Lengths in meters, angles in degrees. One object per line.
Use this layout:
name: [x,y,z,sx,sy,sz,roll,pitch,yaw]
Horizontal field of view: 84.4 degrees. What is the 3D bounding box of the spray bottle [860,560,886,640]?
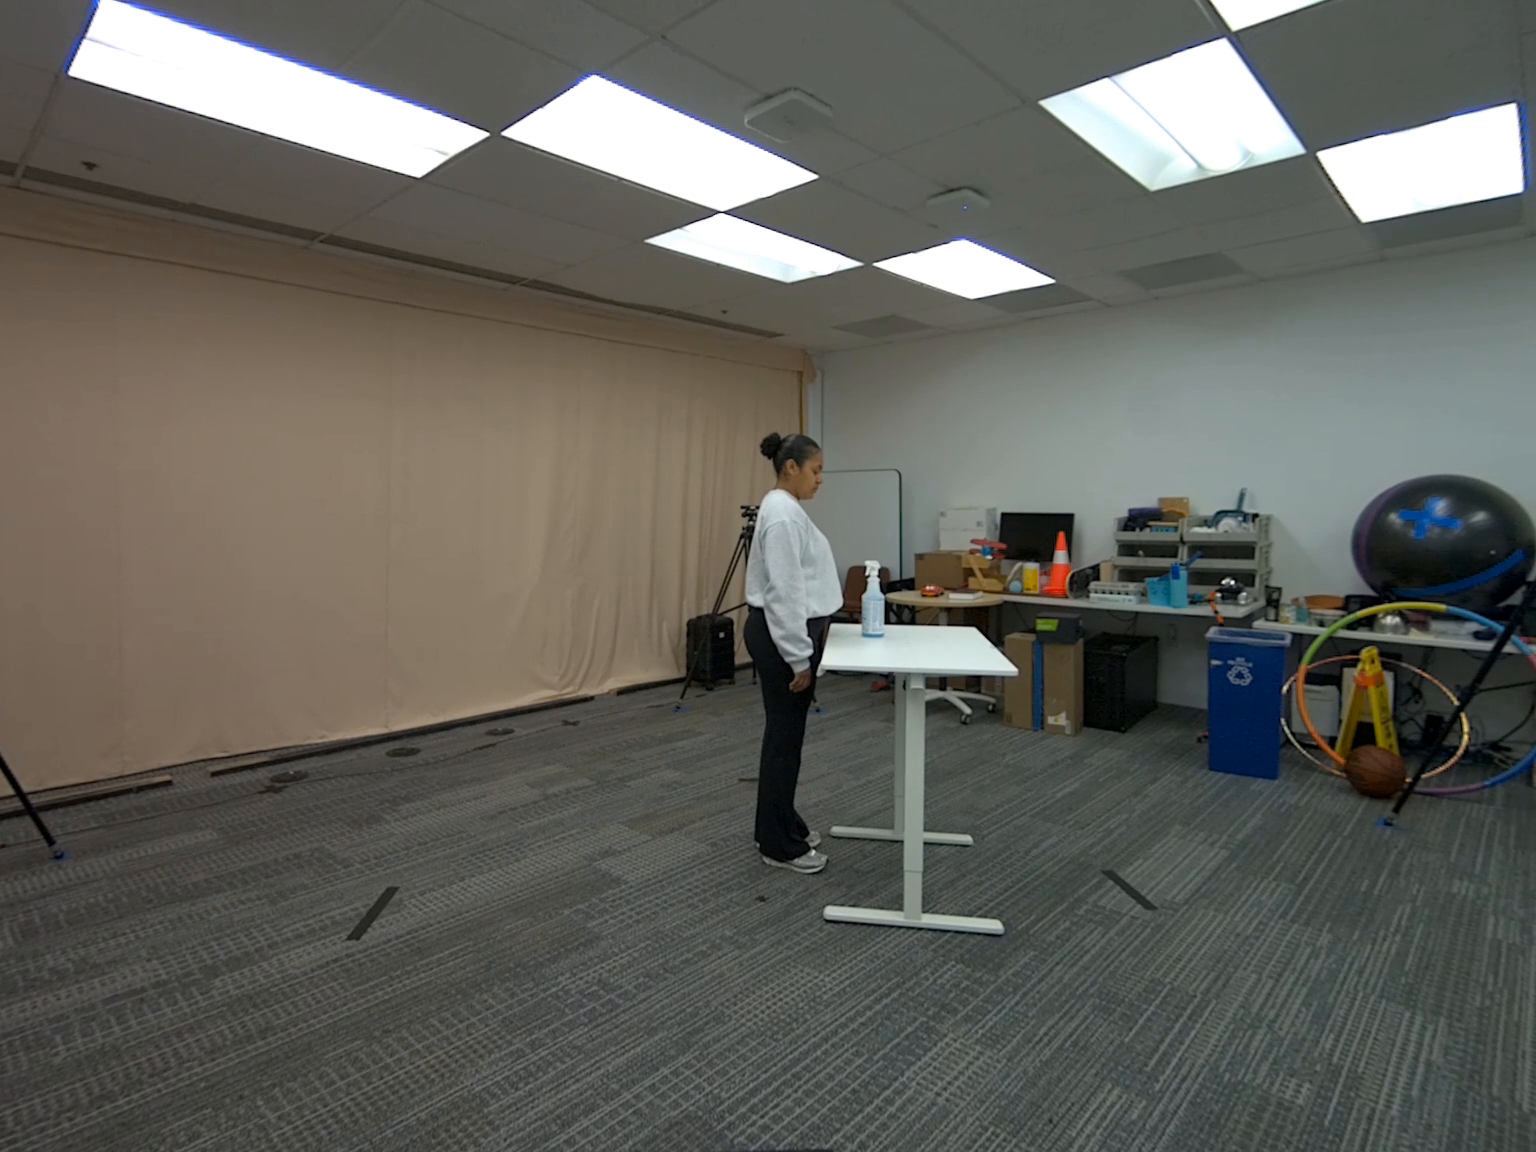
spray bottle: [0.416,0.091,3.278,0.088,0.297,0.089,-1,3,-20]
